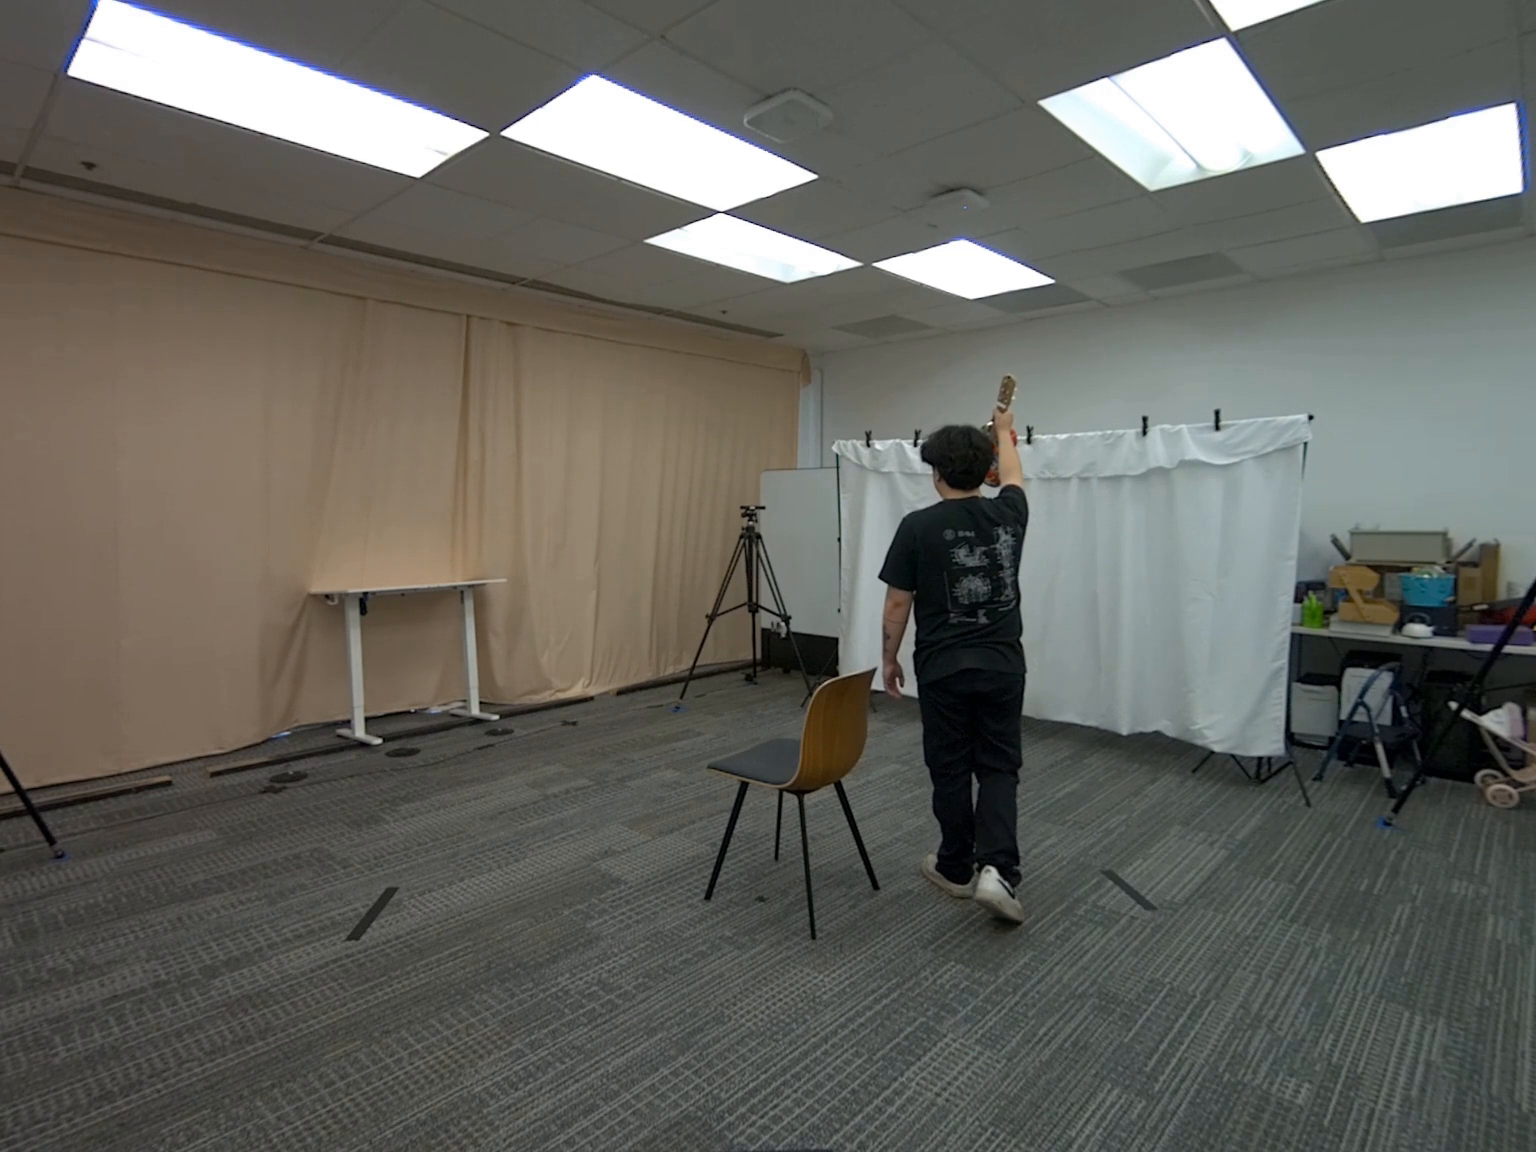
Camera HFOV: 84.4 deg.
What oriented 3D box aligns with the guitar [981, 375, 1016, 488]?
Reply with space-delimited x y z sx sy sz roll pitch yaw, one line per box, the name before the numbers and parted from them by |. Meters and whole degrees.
guitar | 0.942 -0.563 3.371 0.069 0.492 0.199 -21 56 -27
